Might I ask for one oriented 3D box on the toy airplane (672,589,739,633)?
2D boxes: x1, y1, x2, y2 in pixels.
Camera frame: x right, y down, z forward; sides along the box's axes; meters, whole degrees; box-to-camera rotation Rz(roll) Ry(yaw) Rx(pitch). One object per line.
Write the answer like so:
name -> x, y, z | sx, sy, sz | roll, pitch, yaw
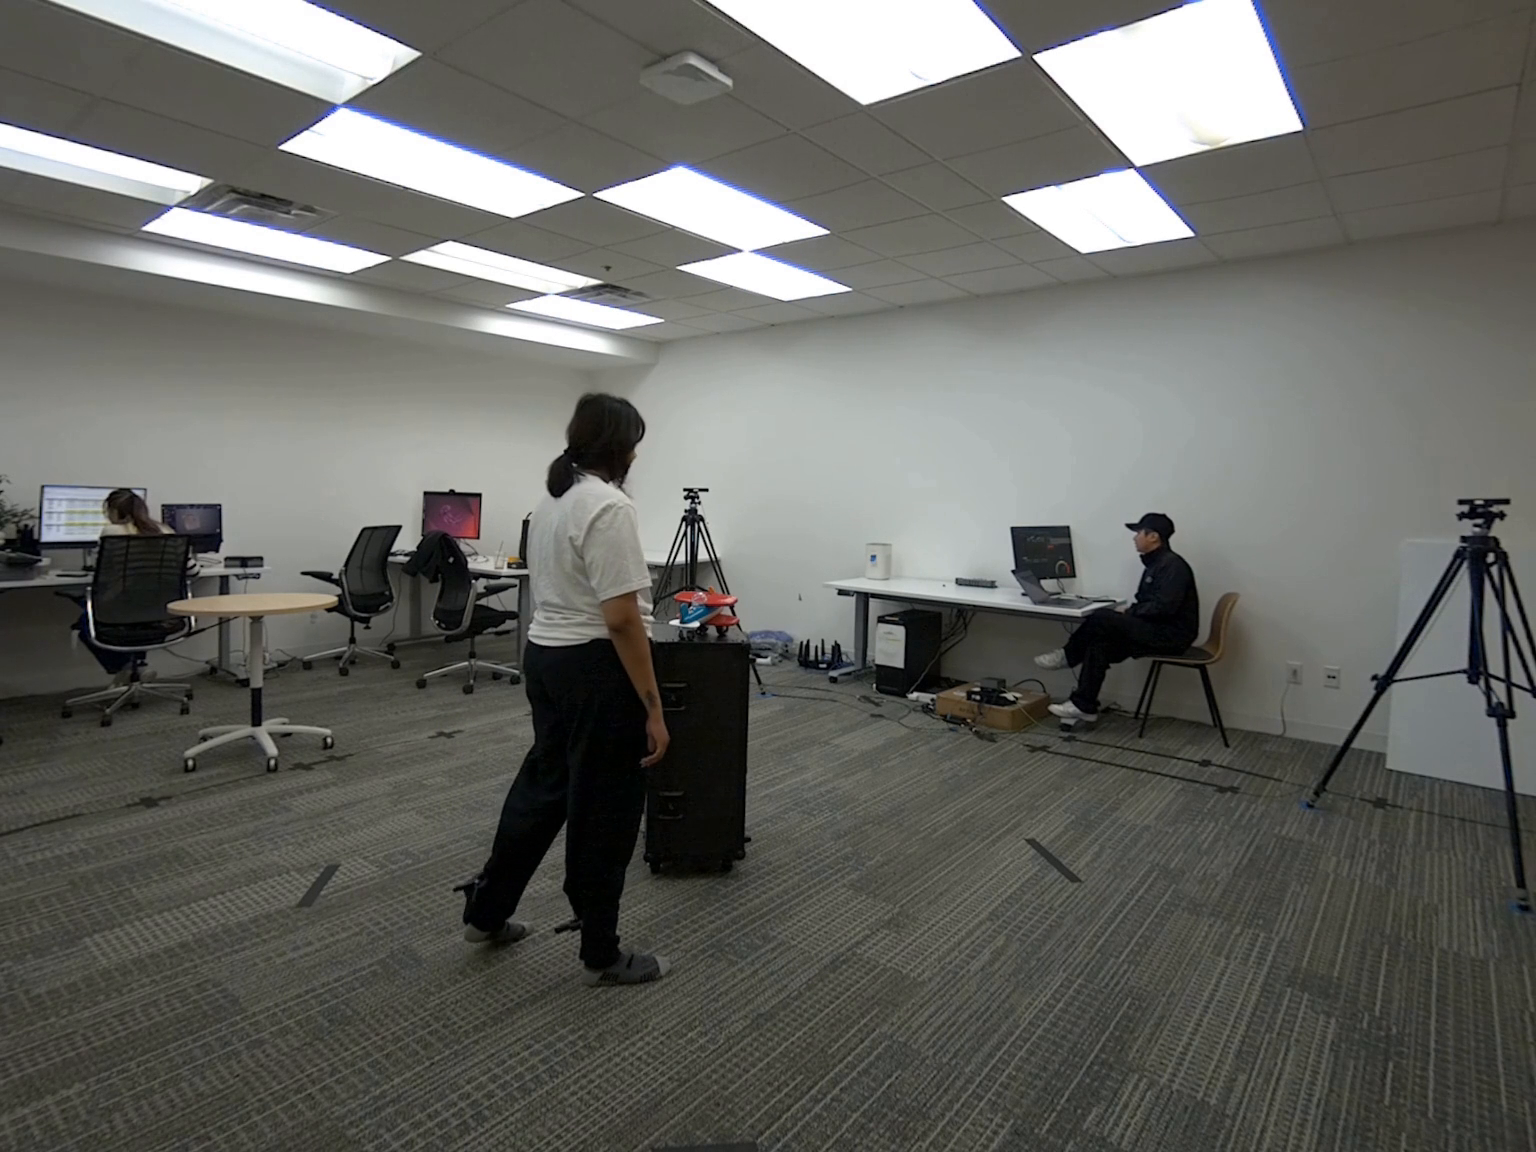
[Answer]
toy airplane -> -0.238, 0.139, 3.110 | 0.251, 0.156, 0.260 | 1, 4, 0
